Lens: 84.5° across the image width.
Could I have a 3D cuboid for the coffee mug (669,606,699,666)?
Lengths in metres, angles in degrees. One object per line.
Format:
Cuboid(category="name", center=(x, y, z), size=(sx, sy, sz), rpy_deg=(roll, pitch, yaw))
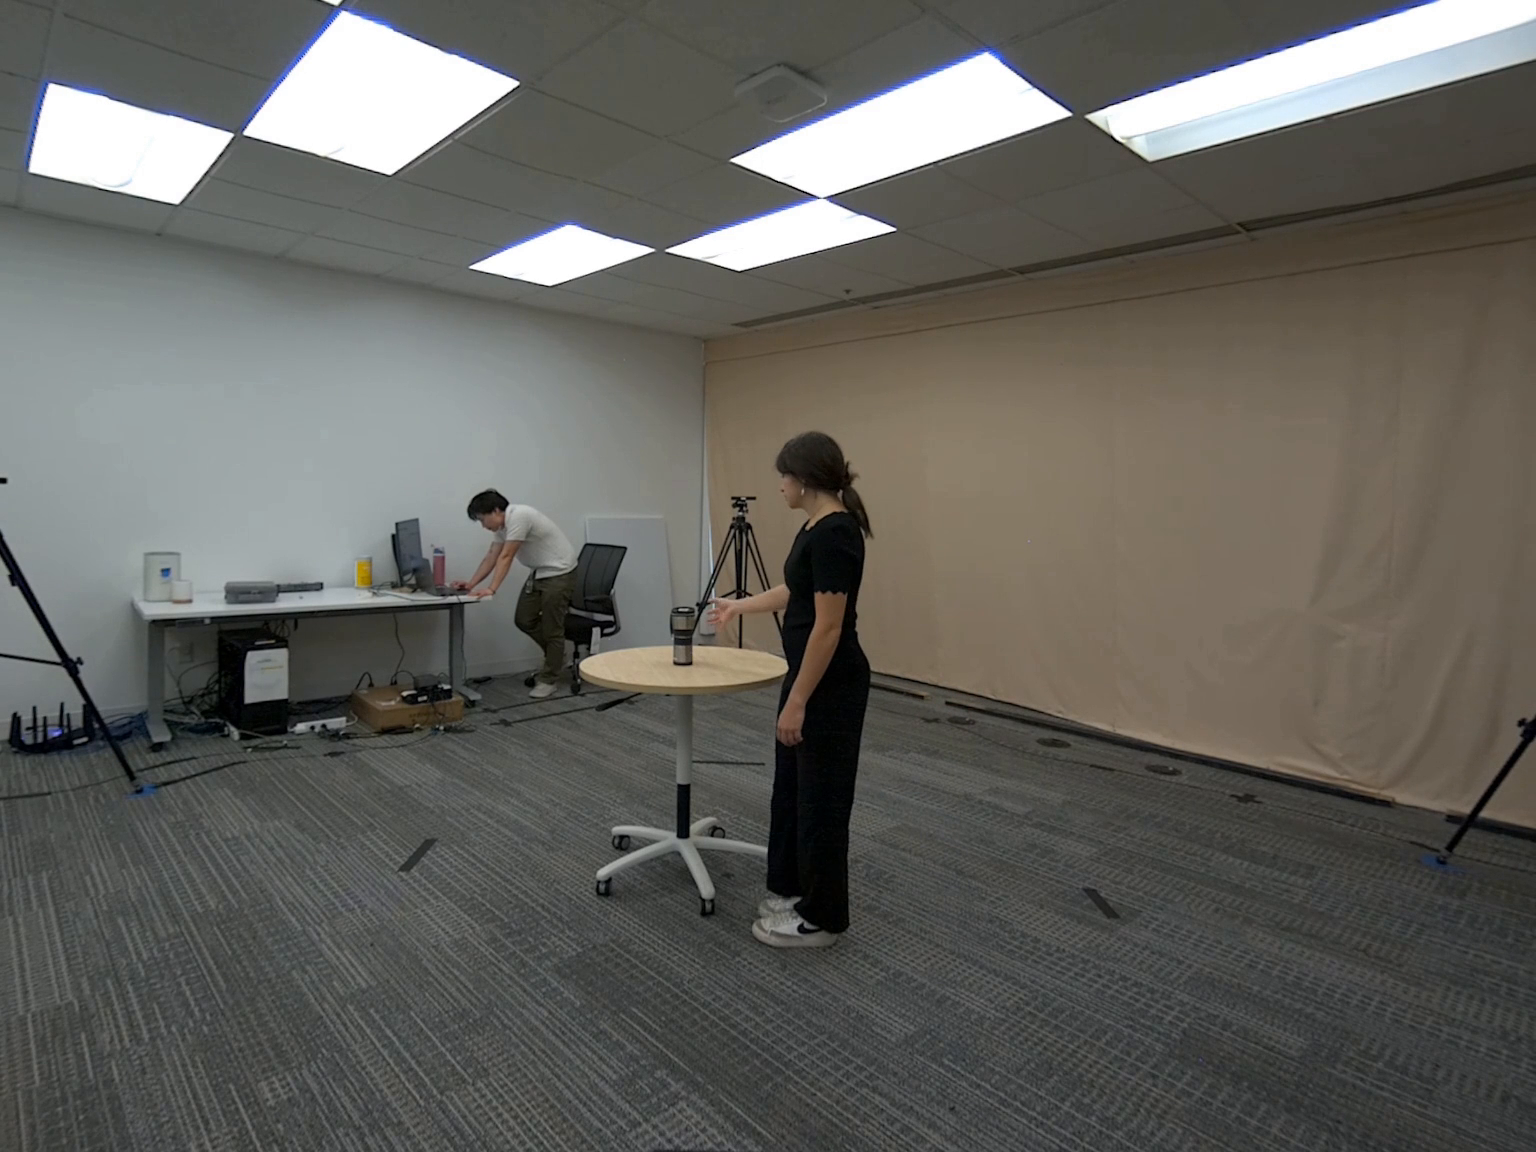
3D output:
Cuboid(category="coffee mug", center=(-0.301, 0.222, 3.069), size=(0.090, 0.202, 0.119), rpy_deg=(0, 5, 35))
